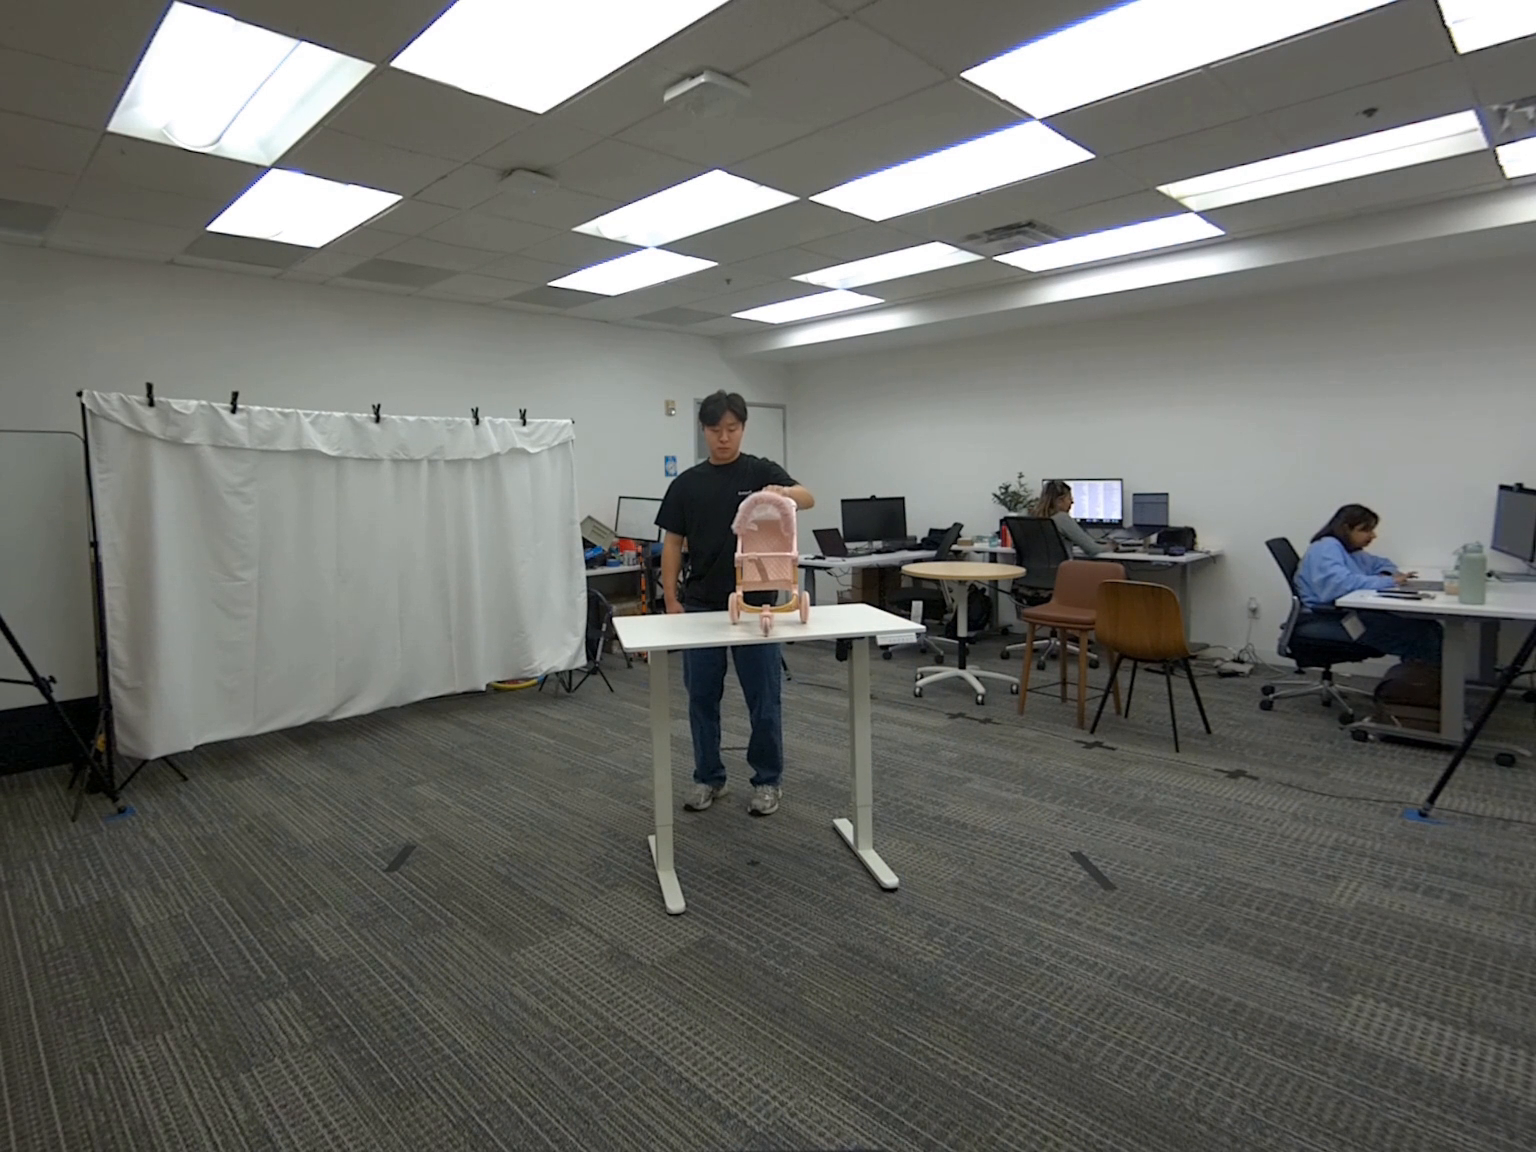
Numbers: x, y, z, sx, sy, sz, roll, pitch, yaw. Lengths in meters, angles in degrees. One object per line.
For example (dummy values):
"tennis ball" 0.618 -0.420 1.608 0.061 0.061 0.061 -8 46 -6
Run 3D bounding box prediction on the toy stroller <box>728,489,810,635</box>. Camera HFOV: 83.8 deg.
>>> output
"toy stroller" -0.008 -0.047 2.938 0.284 0.540 0.335 0 -10 8
